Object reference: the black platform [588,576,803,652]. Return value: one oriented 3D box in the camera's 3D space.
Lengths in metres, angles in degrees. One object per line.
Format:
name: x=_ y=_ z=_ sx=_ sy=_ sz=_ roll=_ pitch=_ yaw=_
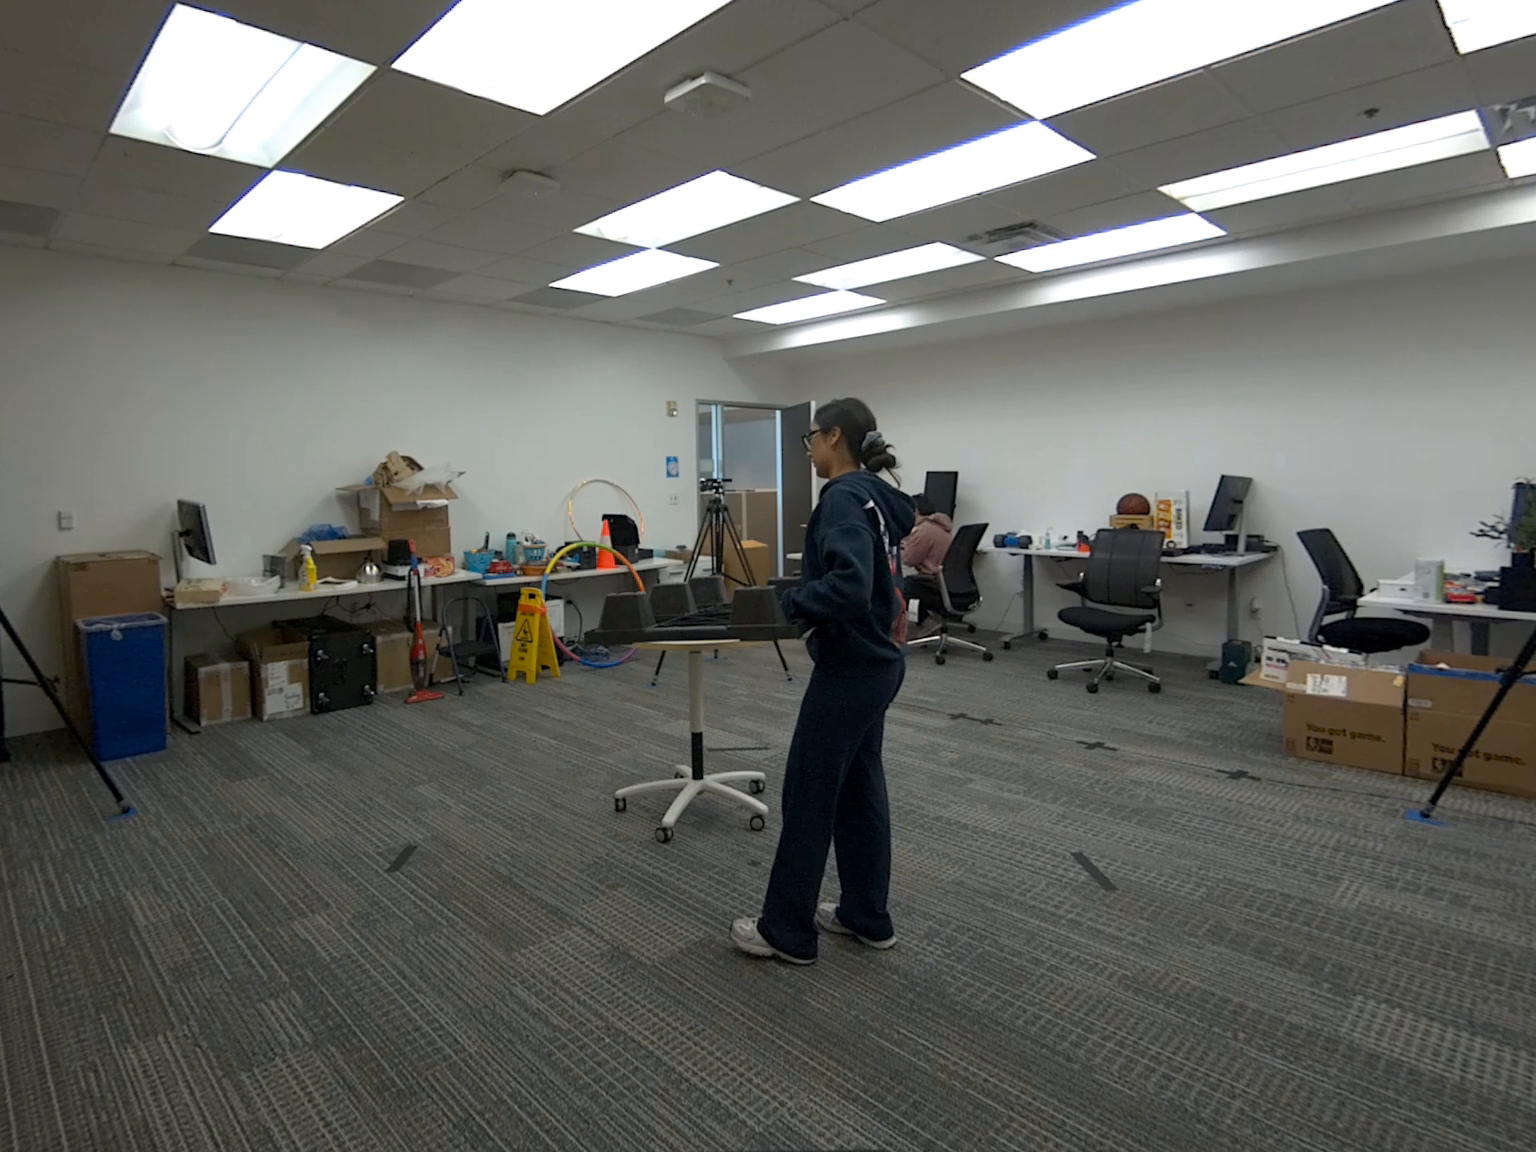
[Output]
black platform: x=-0.127 y=0.083 z=2.615 sx=0.615 sy=0.143 sz=0.794 roll=-2 pitch=3 yaw=17
